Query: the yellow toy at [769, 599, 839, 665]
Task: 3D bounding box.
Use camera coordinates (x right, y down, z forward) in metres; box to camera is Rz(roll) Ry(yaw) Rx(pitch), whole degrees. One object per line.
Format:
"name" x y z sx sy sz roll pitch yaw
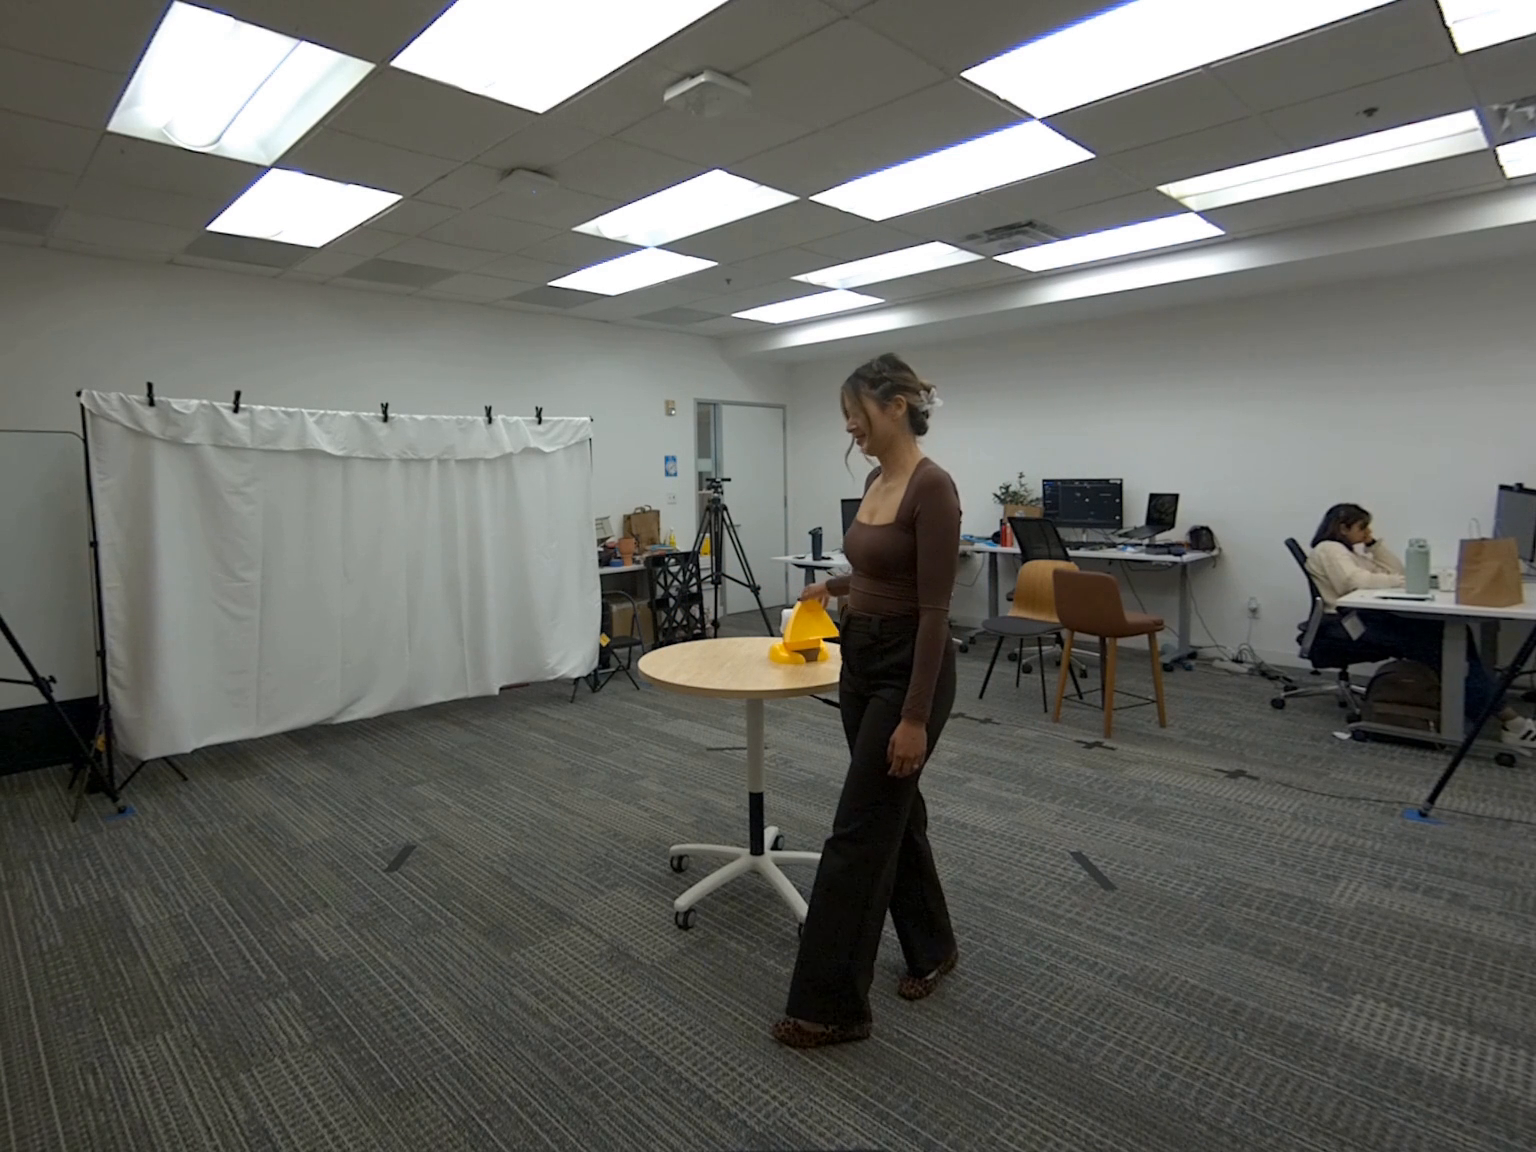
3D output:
"yellow toy" 0.110 0.161 2.830 0.200 0.229 0.198 -4 7 -27
